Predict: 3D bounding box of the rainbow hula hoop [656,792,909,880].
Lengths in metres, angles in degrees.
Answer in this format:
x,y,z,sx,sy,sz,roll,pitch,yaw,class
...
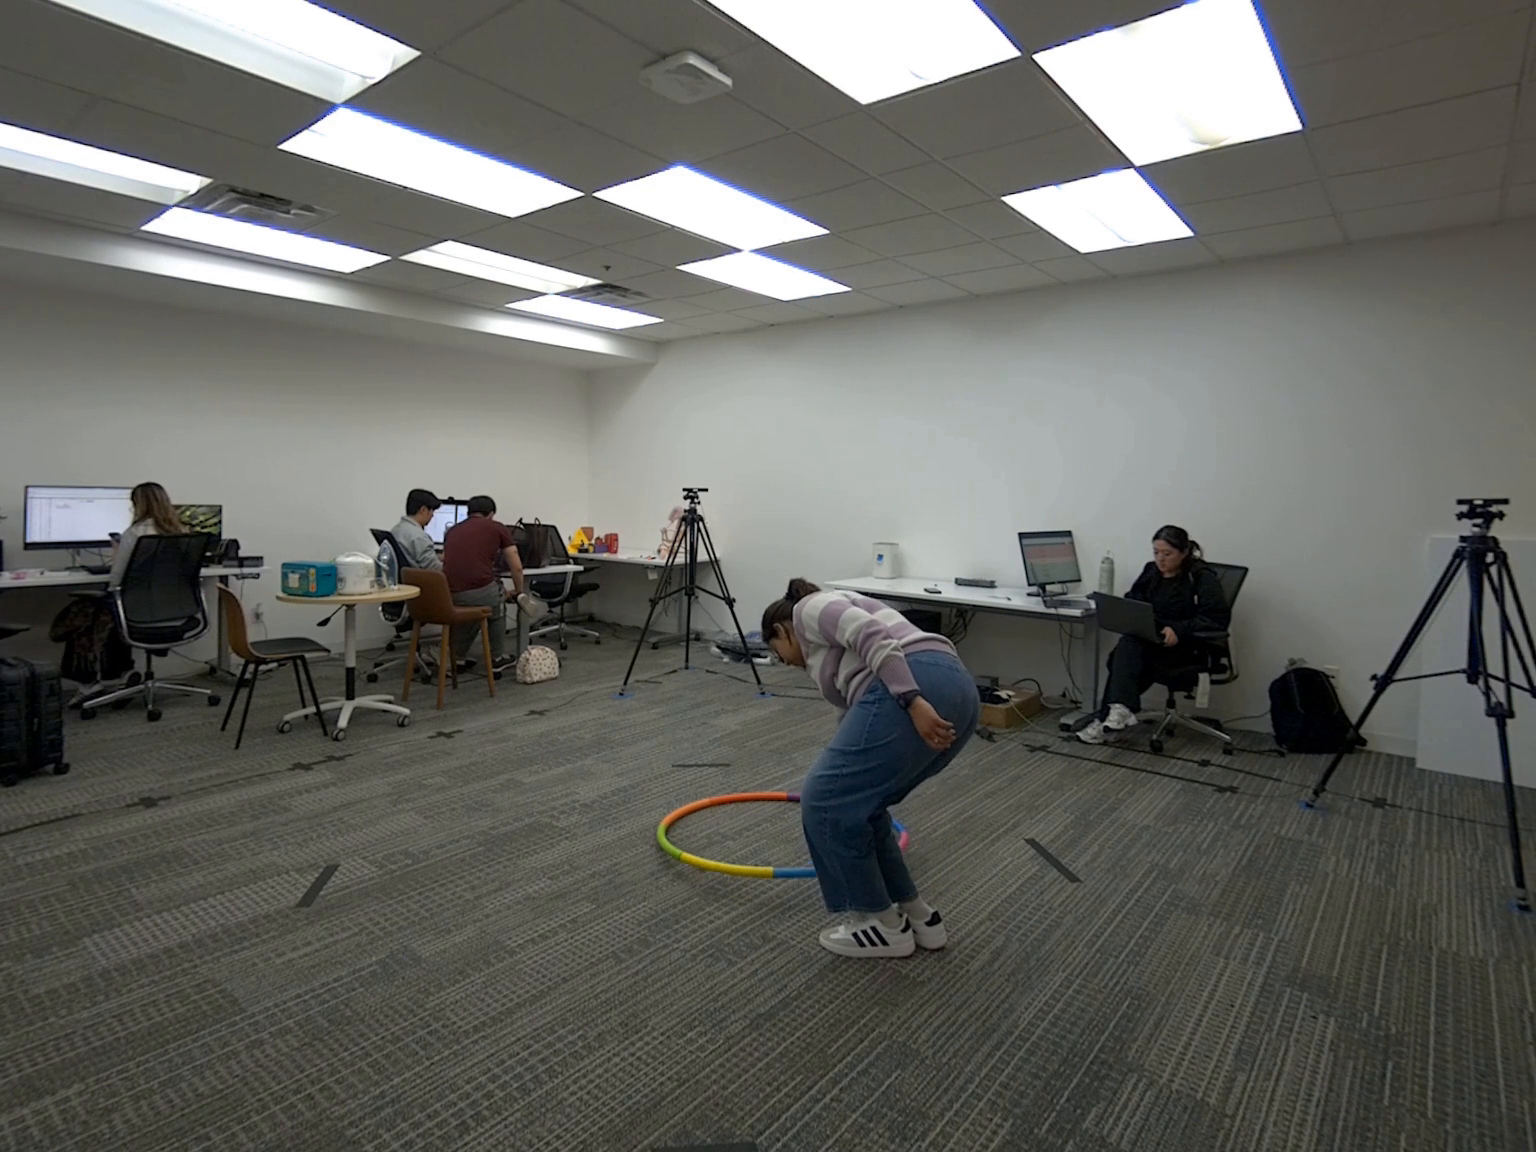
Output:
x,y,z,sx,sy,sz,roll,pitch,yaw,class
0.036,0.985,3.348,0.984,0.051,0.986,-1,1,-2,rainbow hula hoop
